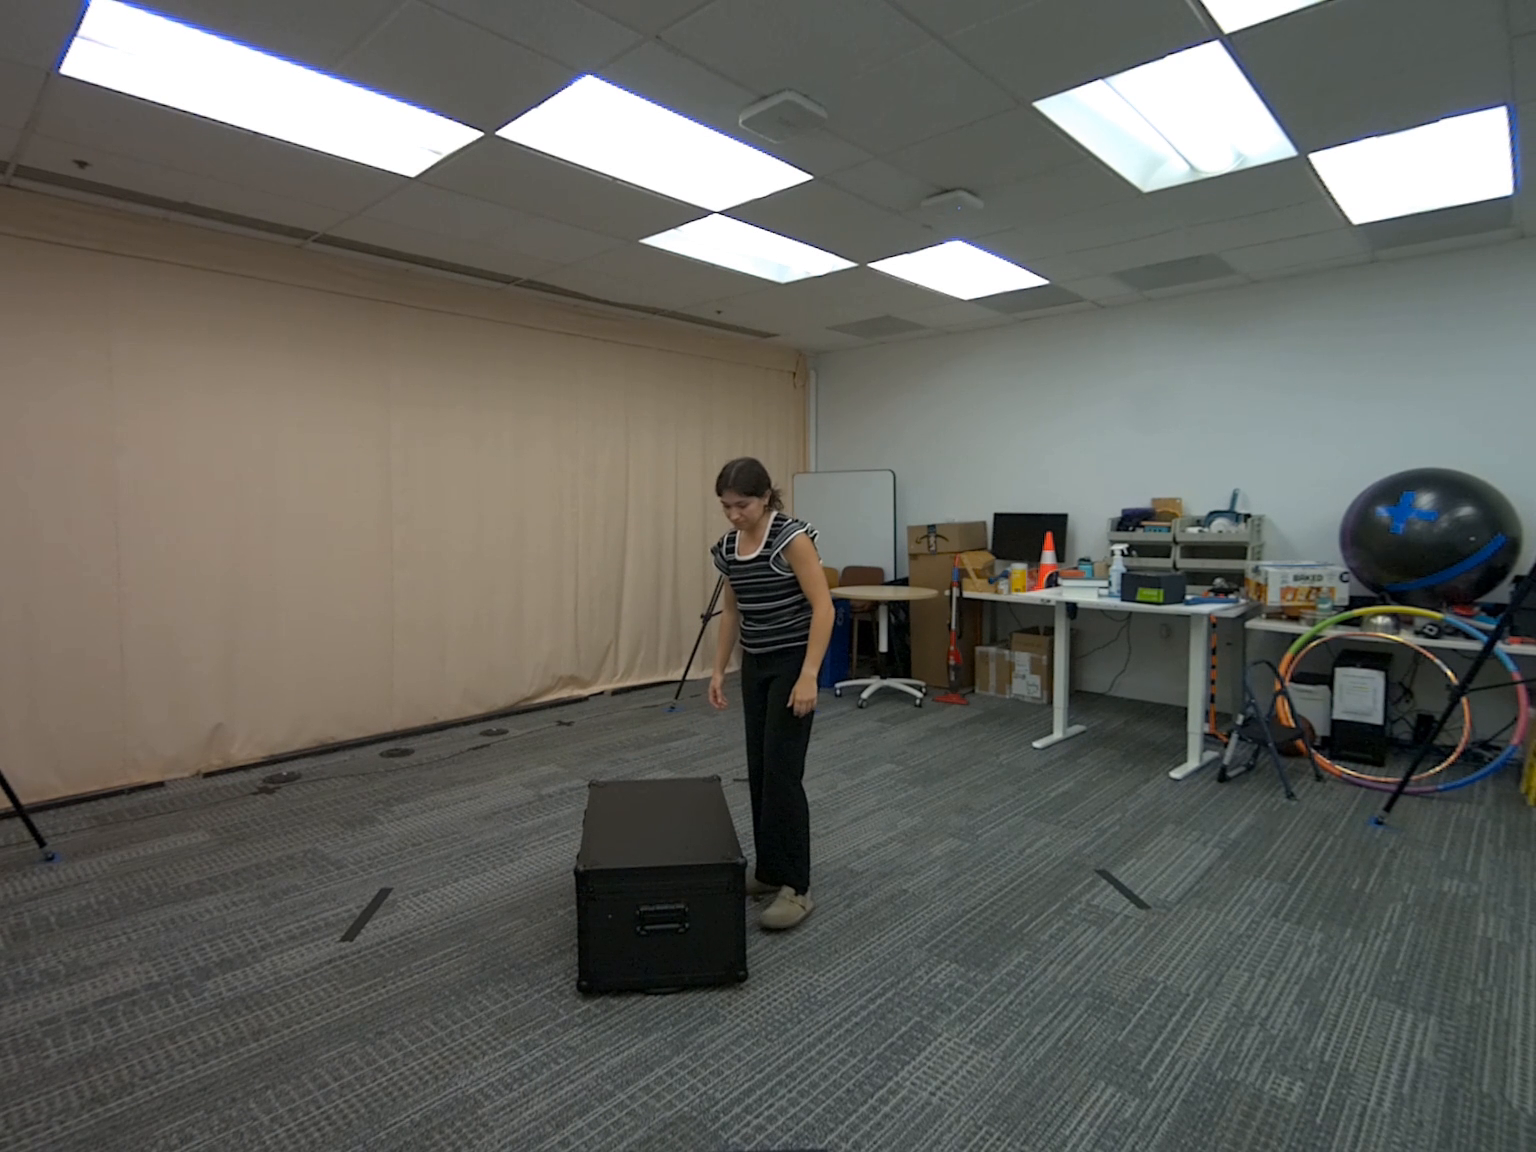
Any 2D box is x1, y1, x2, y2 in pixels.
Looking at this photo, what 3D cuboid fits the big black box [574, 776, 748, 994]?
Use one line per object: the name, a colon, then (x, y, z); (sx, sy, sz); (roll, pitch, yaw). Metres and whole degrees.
big black box: (-0.358, 0.967, 2.803); (0.517, 0.395, 0.870); (-1, 5, -8)
